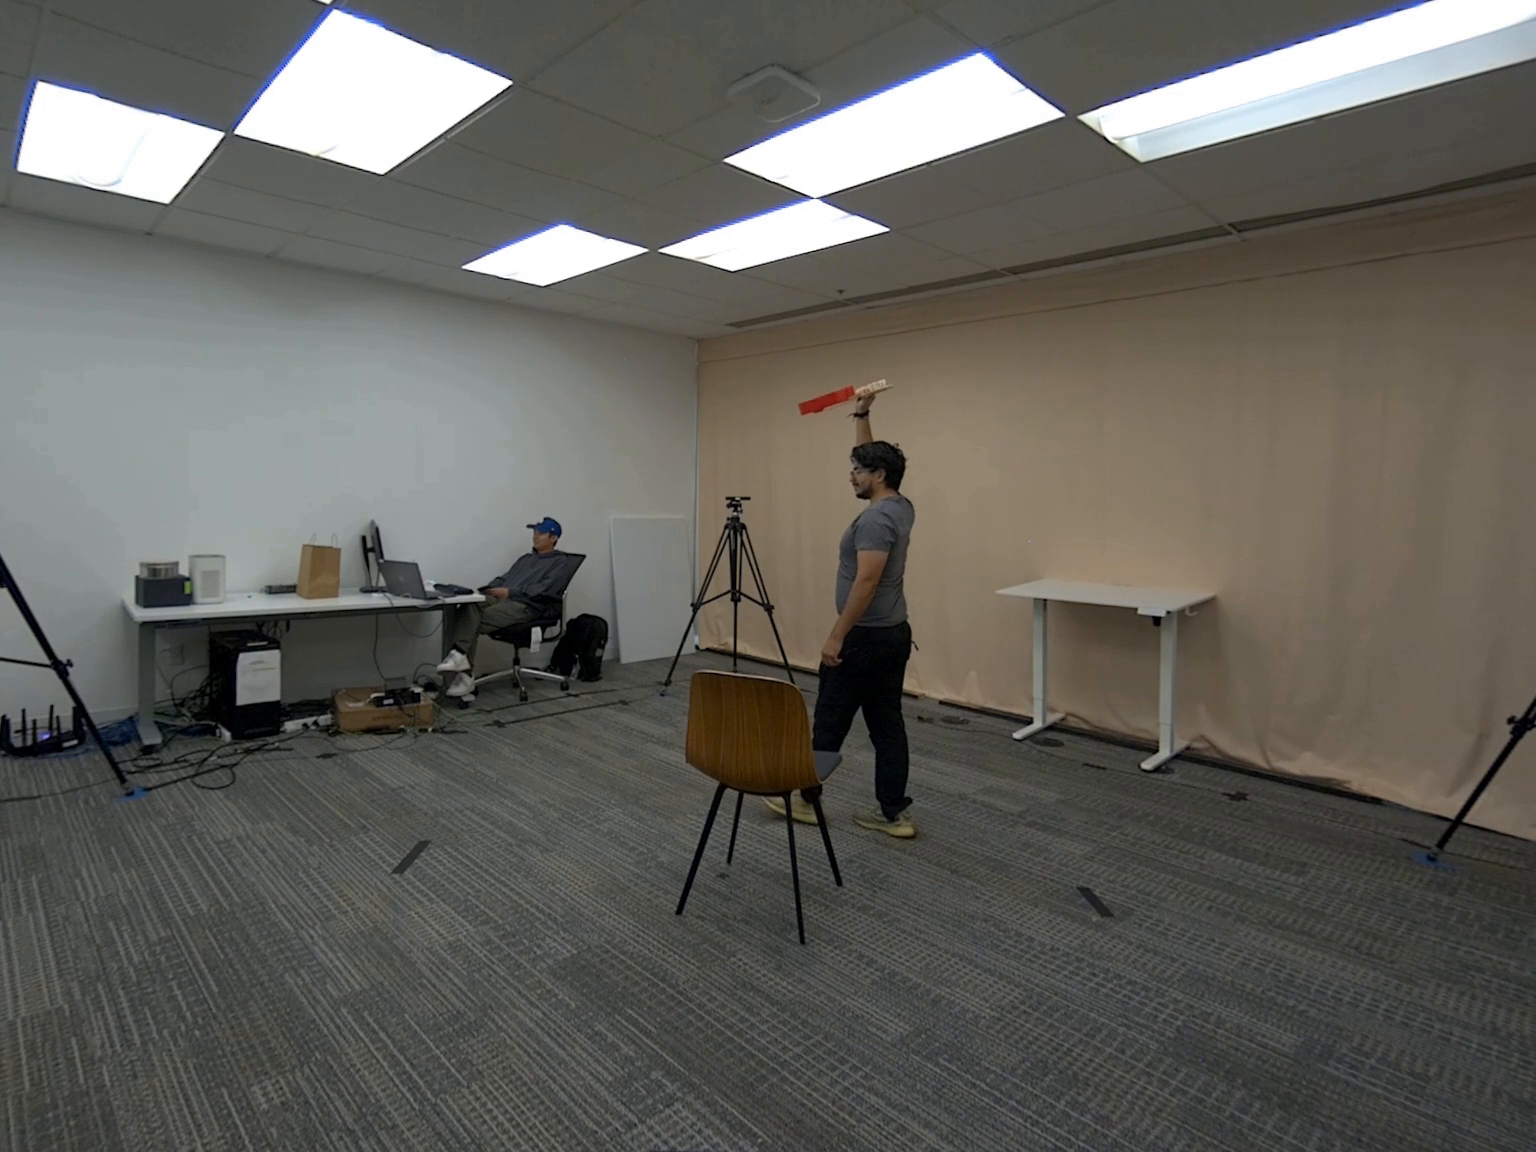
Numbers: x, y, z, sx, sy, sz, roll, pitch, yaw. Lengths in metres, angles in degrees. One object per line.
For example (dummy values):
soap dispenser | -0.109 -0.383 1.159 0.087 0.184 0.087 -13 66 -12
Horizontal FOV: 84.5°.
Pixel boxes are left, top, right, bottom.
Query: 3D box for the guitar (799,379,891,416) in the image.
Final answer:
guitar | 0.364 -0.827 3.805 0.507 0.070 0.191 -10 13 41
